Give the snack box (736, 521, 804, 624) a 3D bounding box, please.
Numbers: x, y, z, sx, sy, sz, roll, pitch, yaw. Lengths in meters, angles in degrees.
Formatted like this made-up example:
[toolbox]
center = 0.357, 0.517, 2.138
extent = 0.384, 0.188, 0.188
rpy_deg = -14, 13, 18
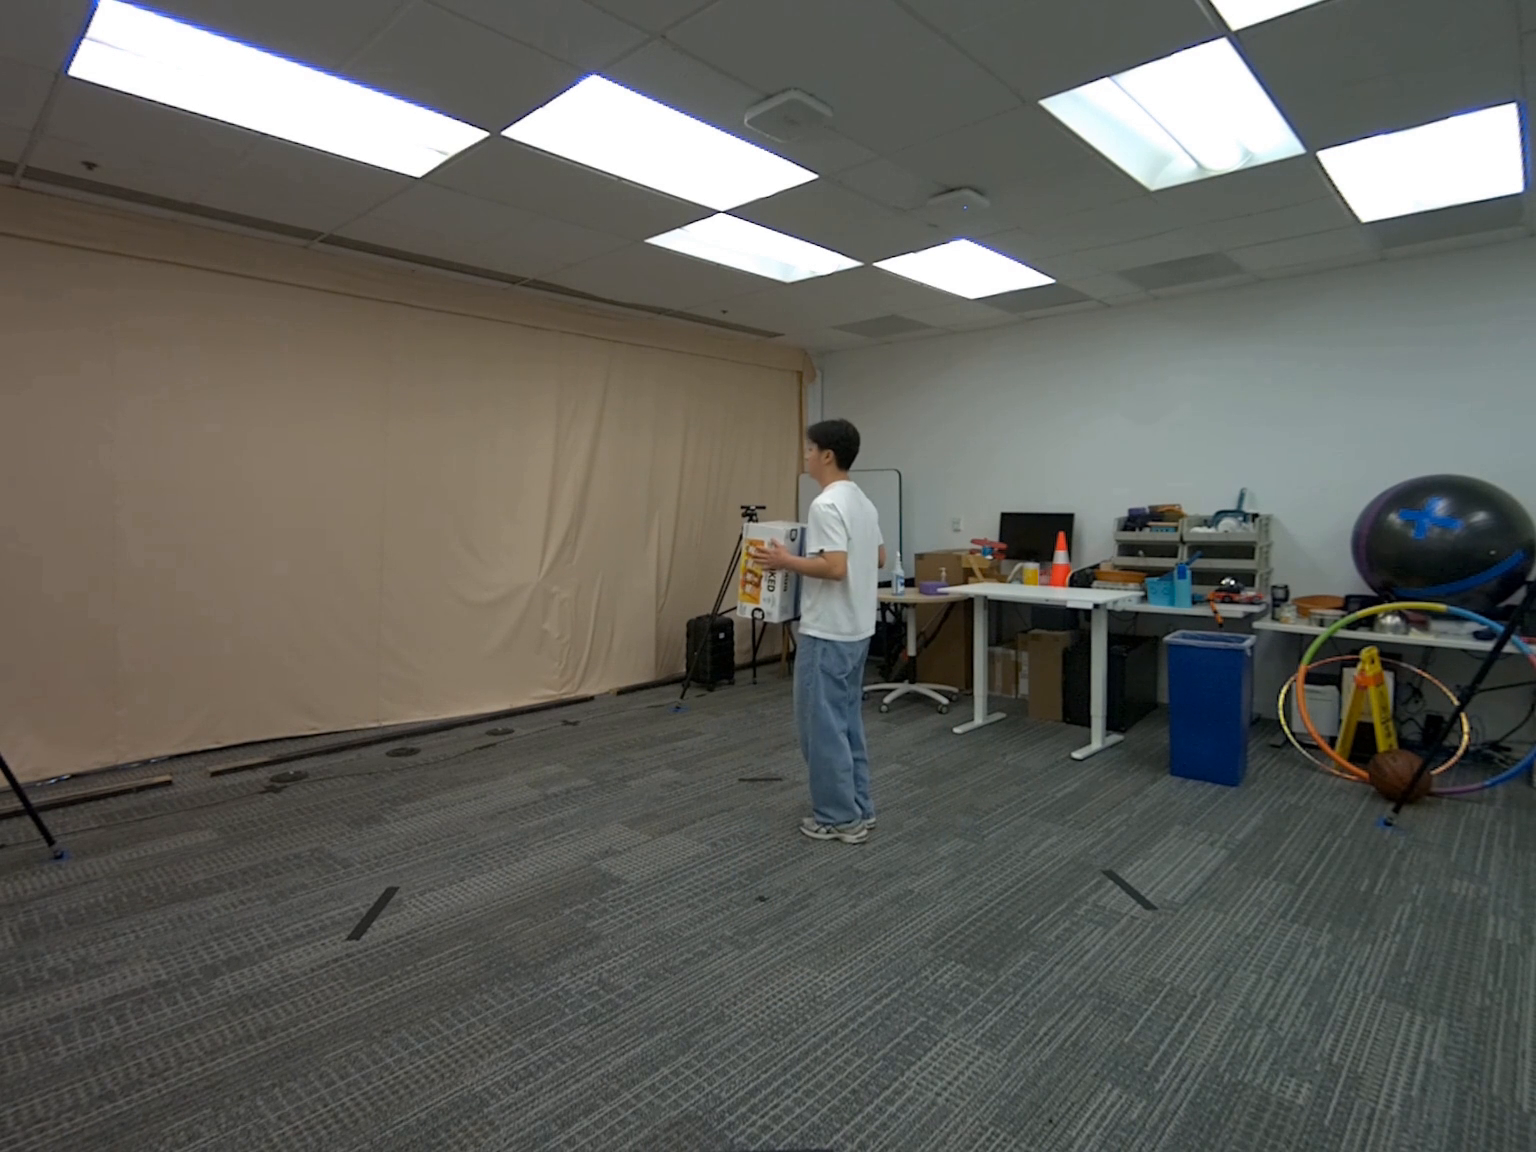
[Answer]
[snack box]
center = 0.046, -0.023, 3.720
extent = 0.212, 0.403, 0.332
rpy_deg = 8, 8, 28
